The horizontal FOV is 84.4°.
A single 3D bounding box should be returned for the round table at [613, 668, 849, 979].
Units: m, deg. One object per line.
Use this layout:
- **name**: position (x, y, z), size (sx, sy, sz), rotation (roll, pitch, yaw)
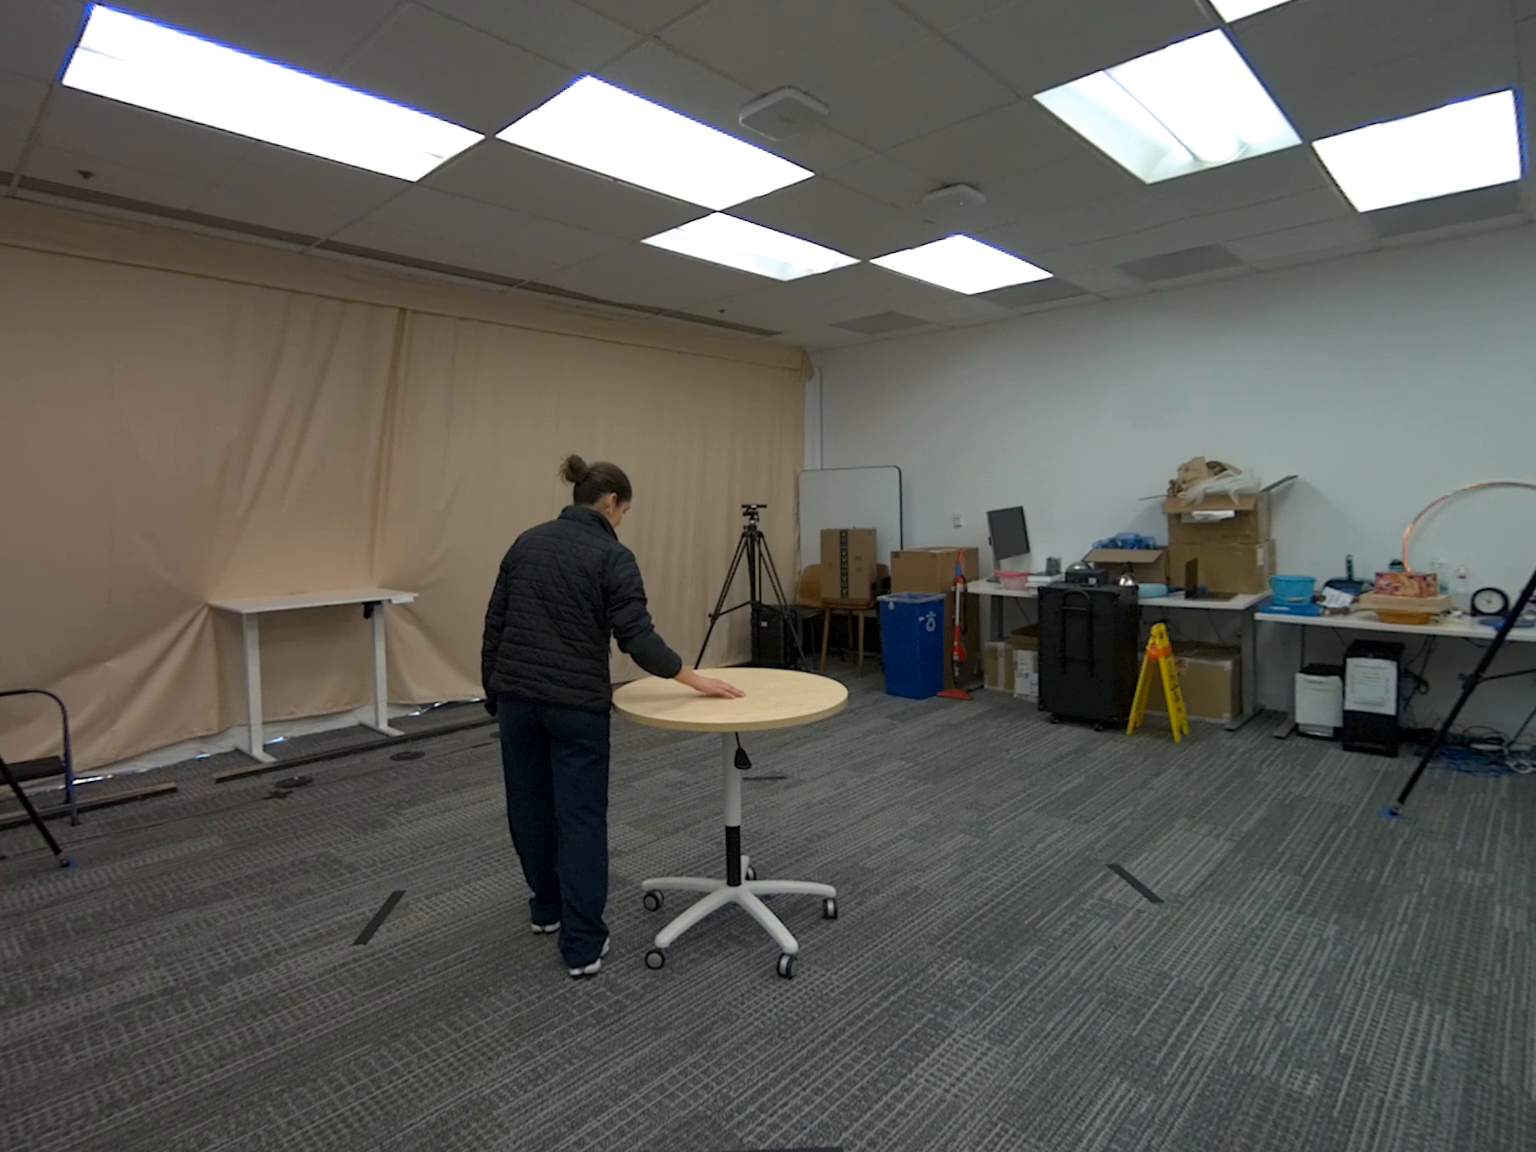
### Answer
- **round table**: position (-0.107, 0.767, 2.780), size (0.784, 0.785, 0.788), rotation (-1, 4, -2)
